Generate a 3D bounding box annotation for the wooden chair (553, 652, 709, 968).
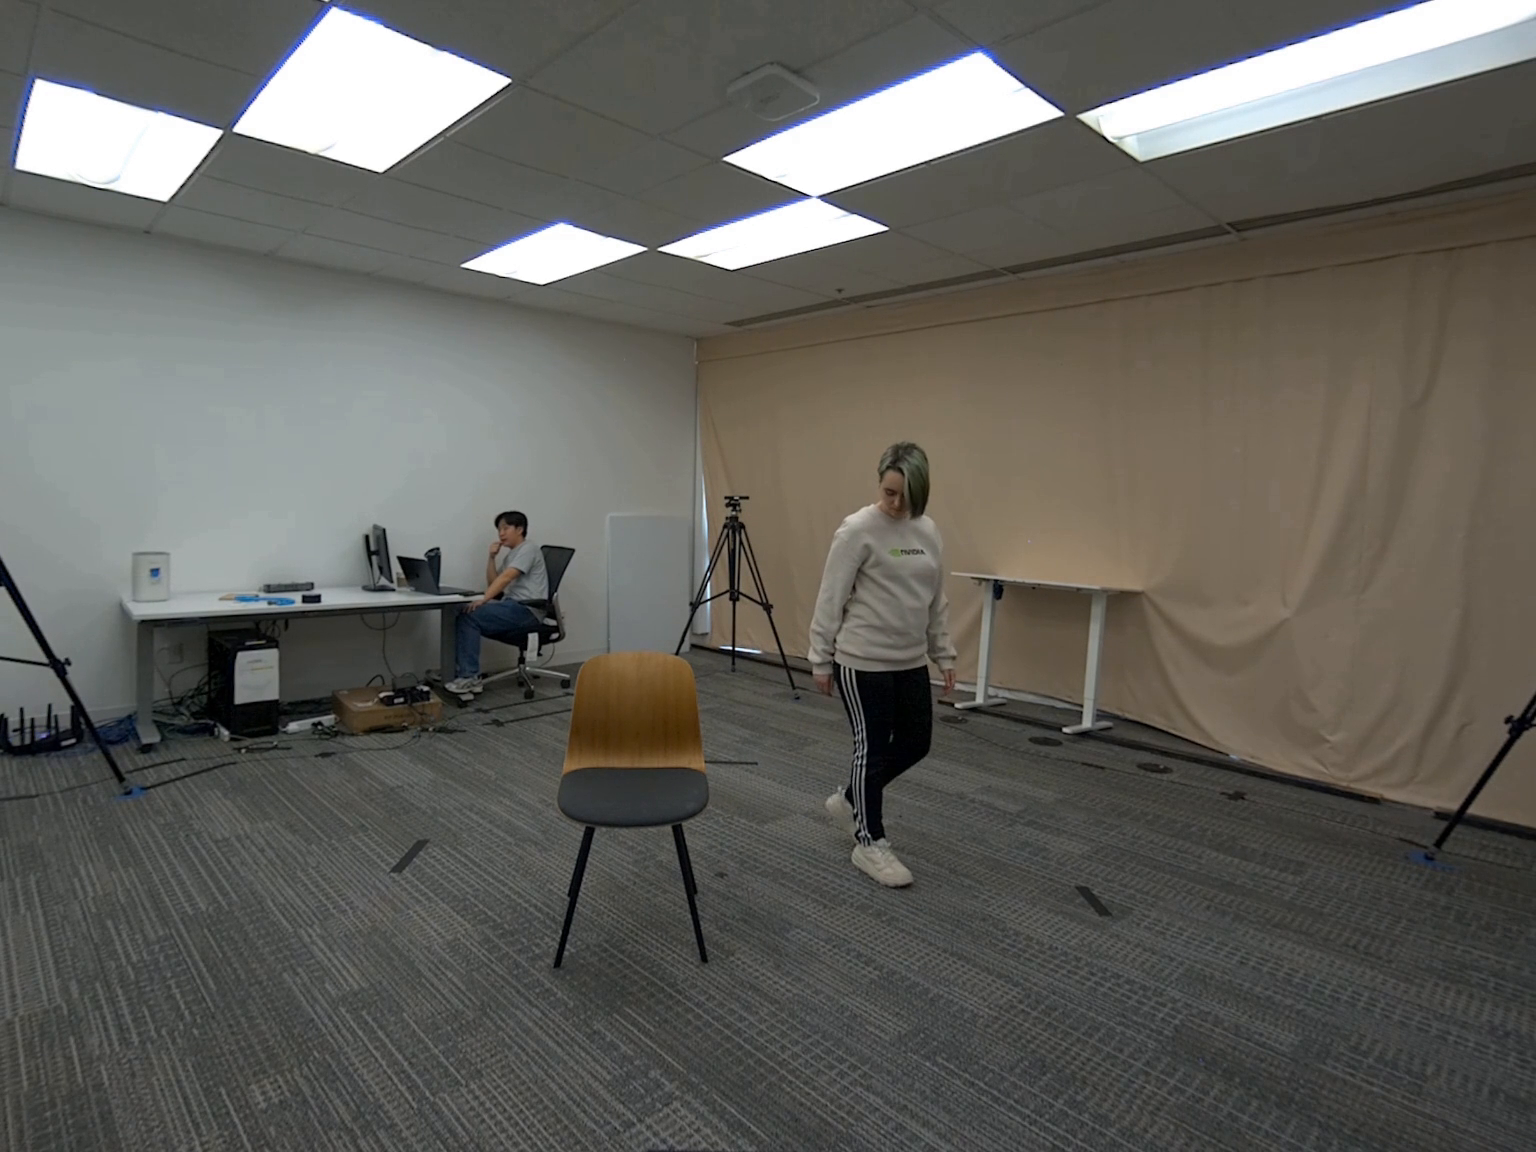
[{"bbox_3d":[-0.422,0.711,2.669,0.475,0.878,0.526,1,-1,-9],"label":"wooden chair"}]
